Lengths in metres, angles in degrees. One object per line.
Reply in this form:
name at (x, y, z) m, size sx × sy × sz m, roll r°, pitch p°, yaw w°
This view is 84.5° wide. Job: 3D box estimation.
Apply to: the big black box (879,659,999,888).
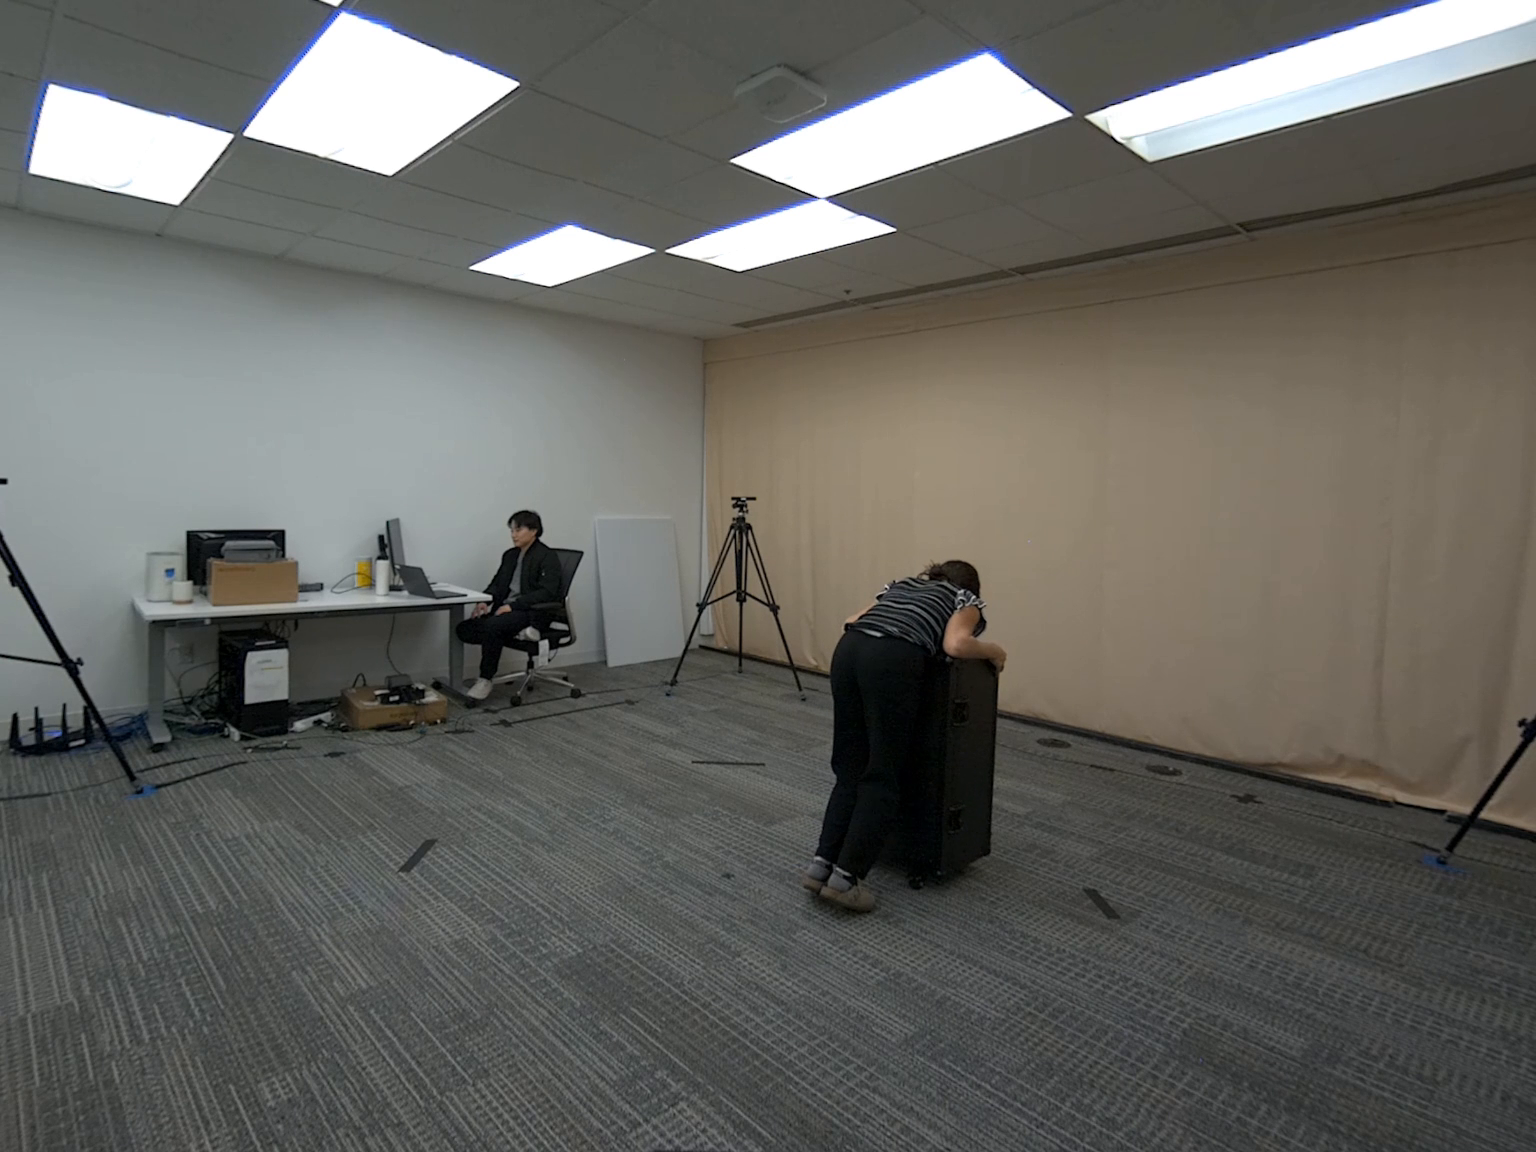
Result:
big black box at (0.558, 0.699, 3.241) m, size 0.534 × 0.860 × 0.387 m, roll 5°, pitch 3°, yaw 44°
